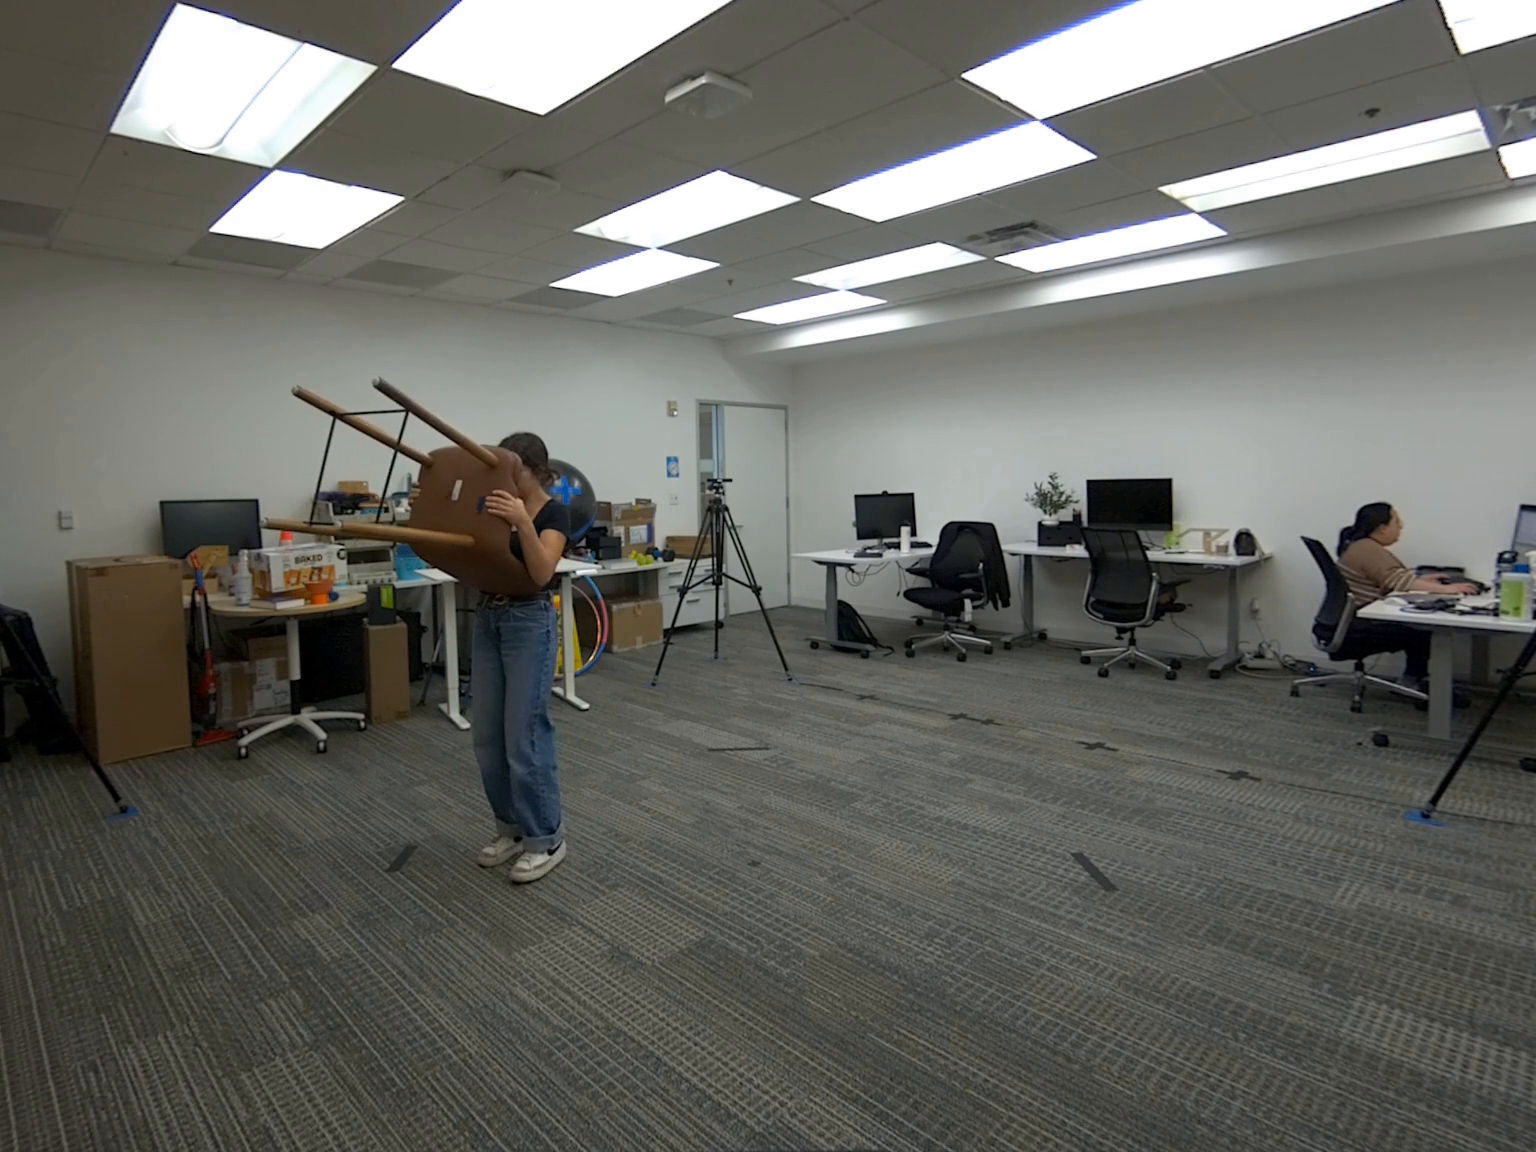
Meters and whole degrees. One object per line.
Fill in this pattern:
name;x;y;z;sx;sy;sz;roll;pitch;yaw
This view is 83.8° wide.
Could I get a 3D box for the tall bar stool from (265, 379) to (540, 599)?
tall bar stool;-1.137;-0.253;2.850;0.468;0.472;0.858;1;-15;29
